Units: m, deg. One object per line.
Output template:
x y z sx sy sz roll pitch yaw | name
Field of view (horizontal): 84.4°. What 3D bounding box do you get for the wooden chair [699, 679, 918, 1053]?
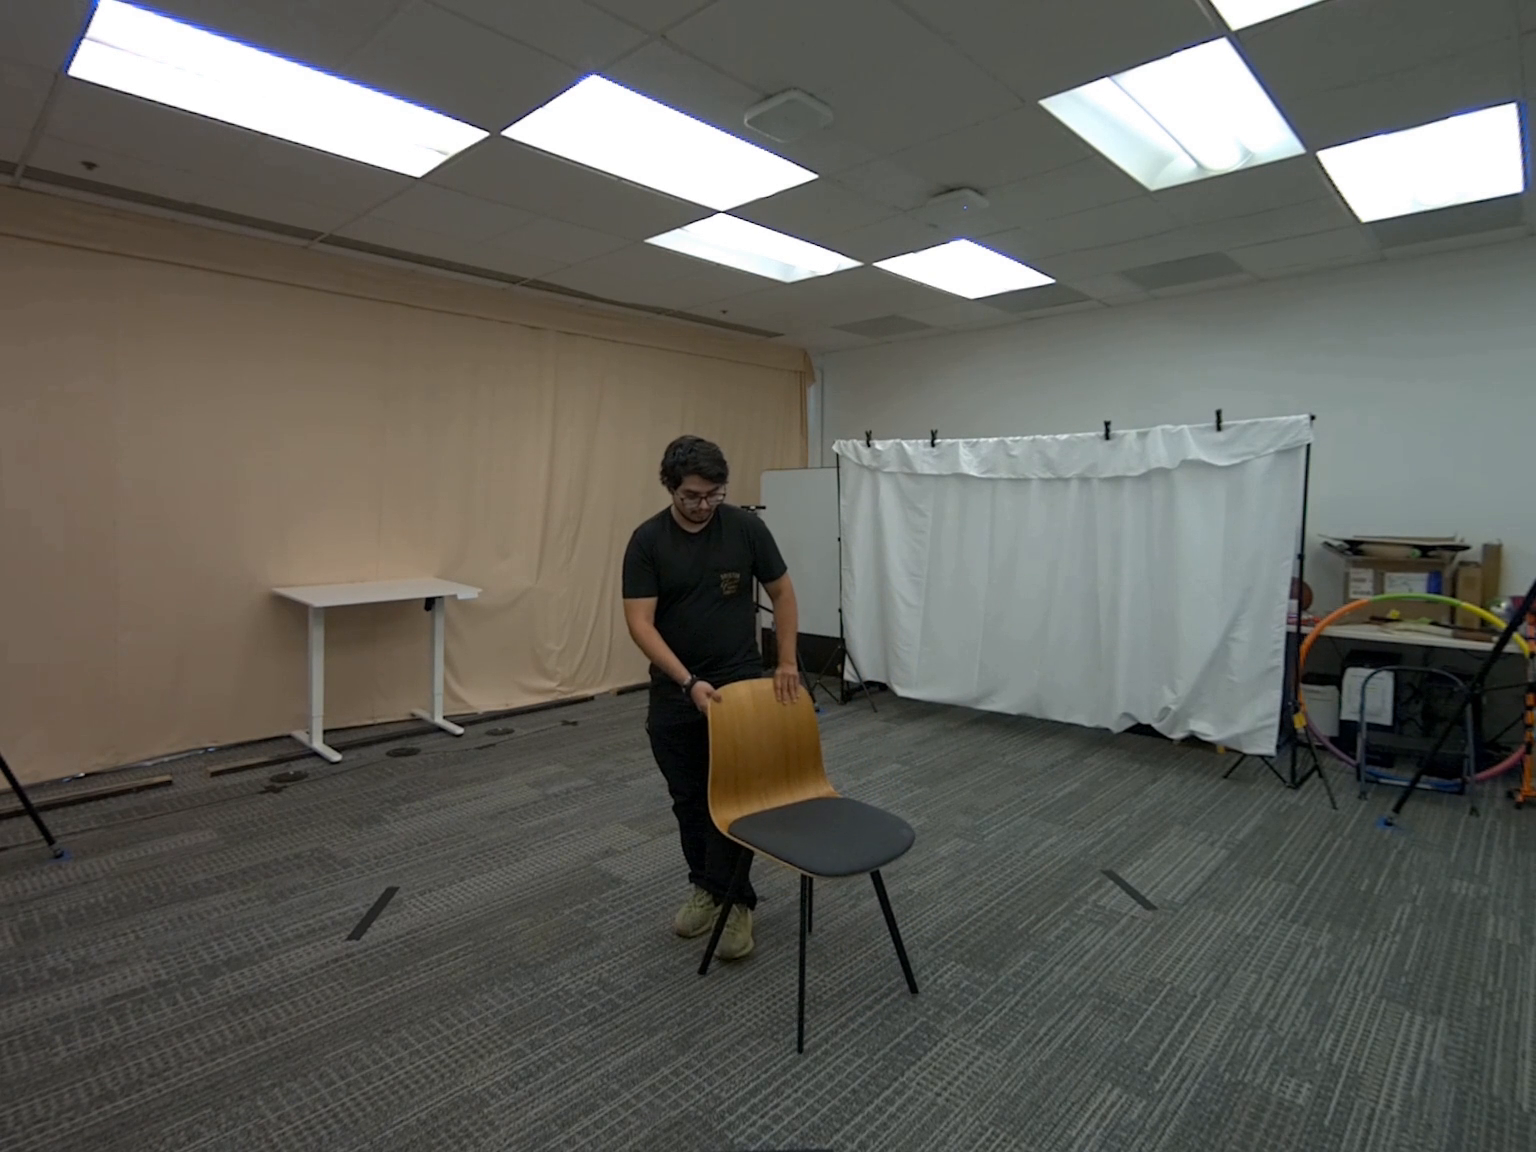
0.124 0.765 2.411 0.464 0.877 0.539 -3 0 -38 | wooden chair
